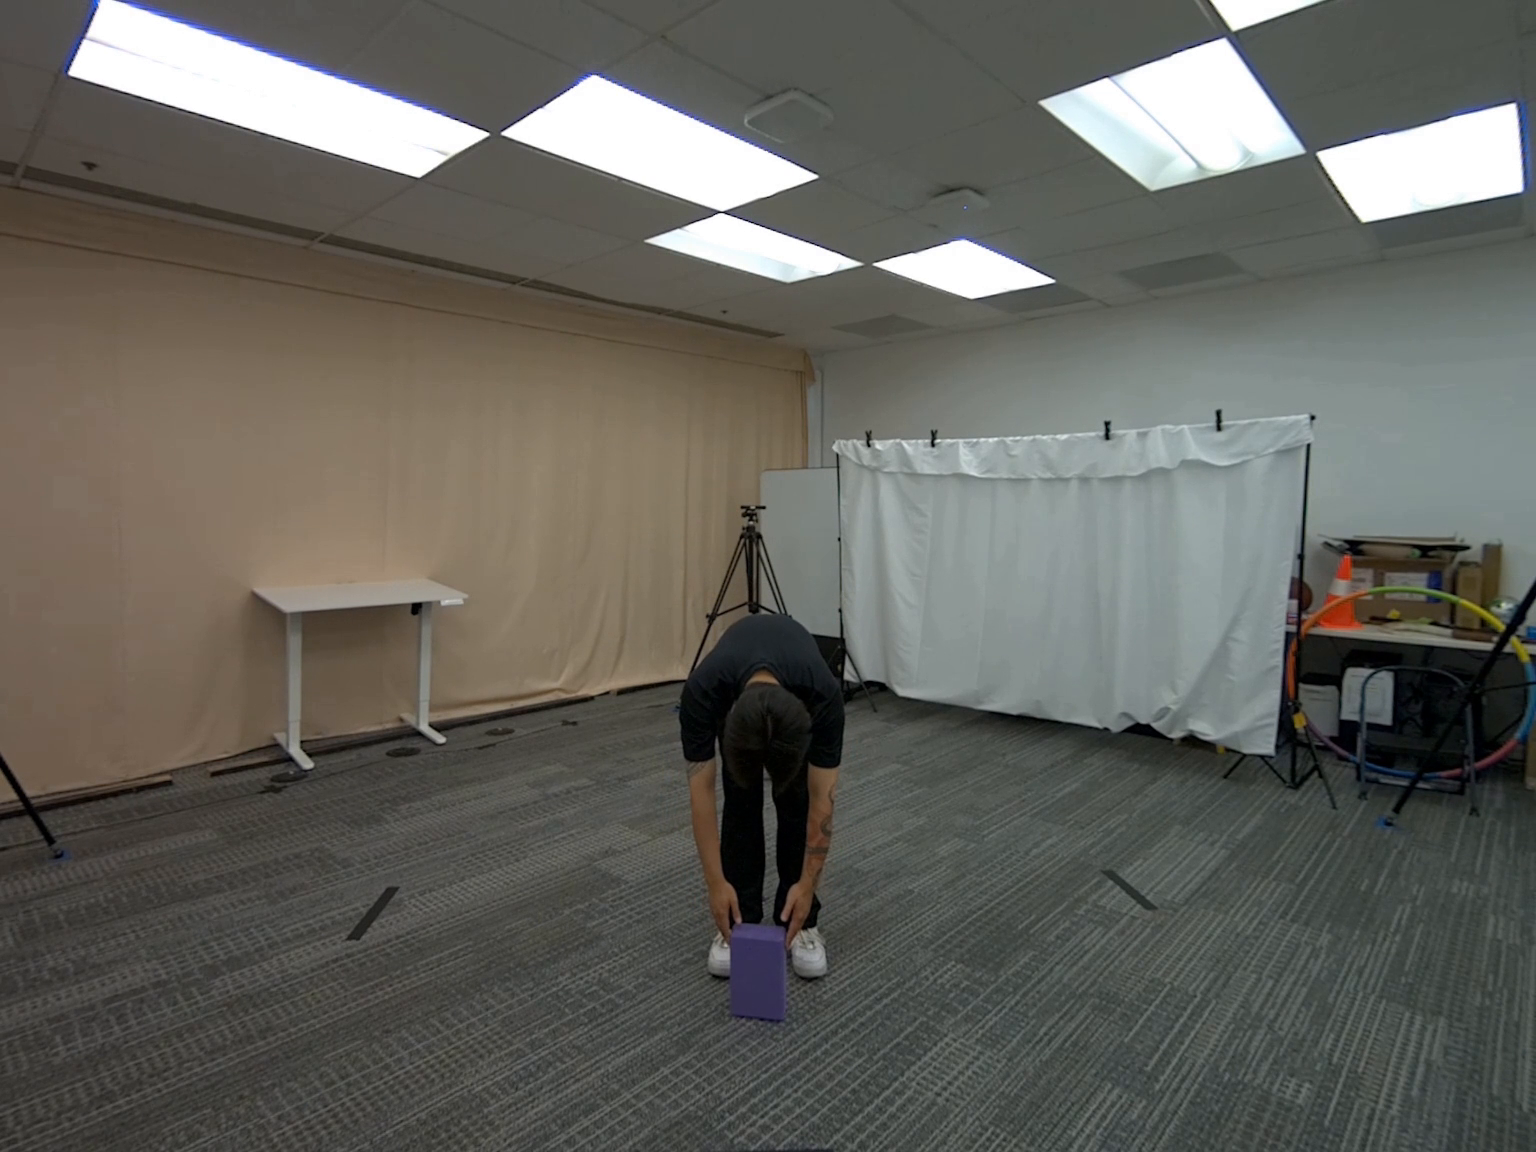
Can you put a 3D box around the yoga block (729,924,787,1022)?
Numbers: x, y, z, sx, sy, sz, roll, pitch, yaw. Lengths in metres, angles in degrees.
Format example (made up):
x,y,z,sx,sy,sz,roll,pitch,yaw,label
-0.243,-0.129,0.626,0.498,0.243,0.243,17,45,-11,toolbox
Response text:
x,y,z,sx,sy,sz,roll,pitch,yaw,label
-0.029,1.078,2.313,0.150,0.229,0.076,-1,3,8,yoga block
